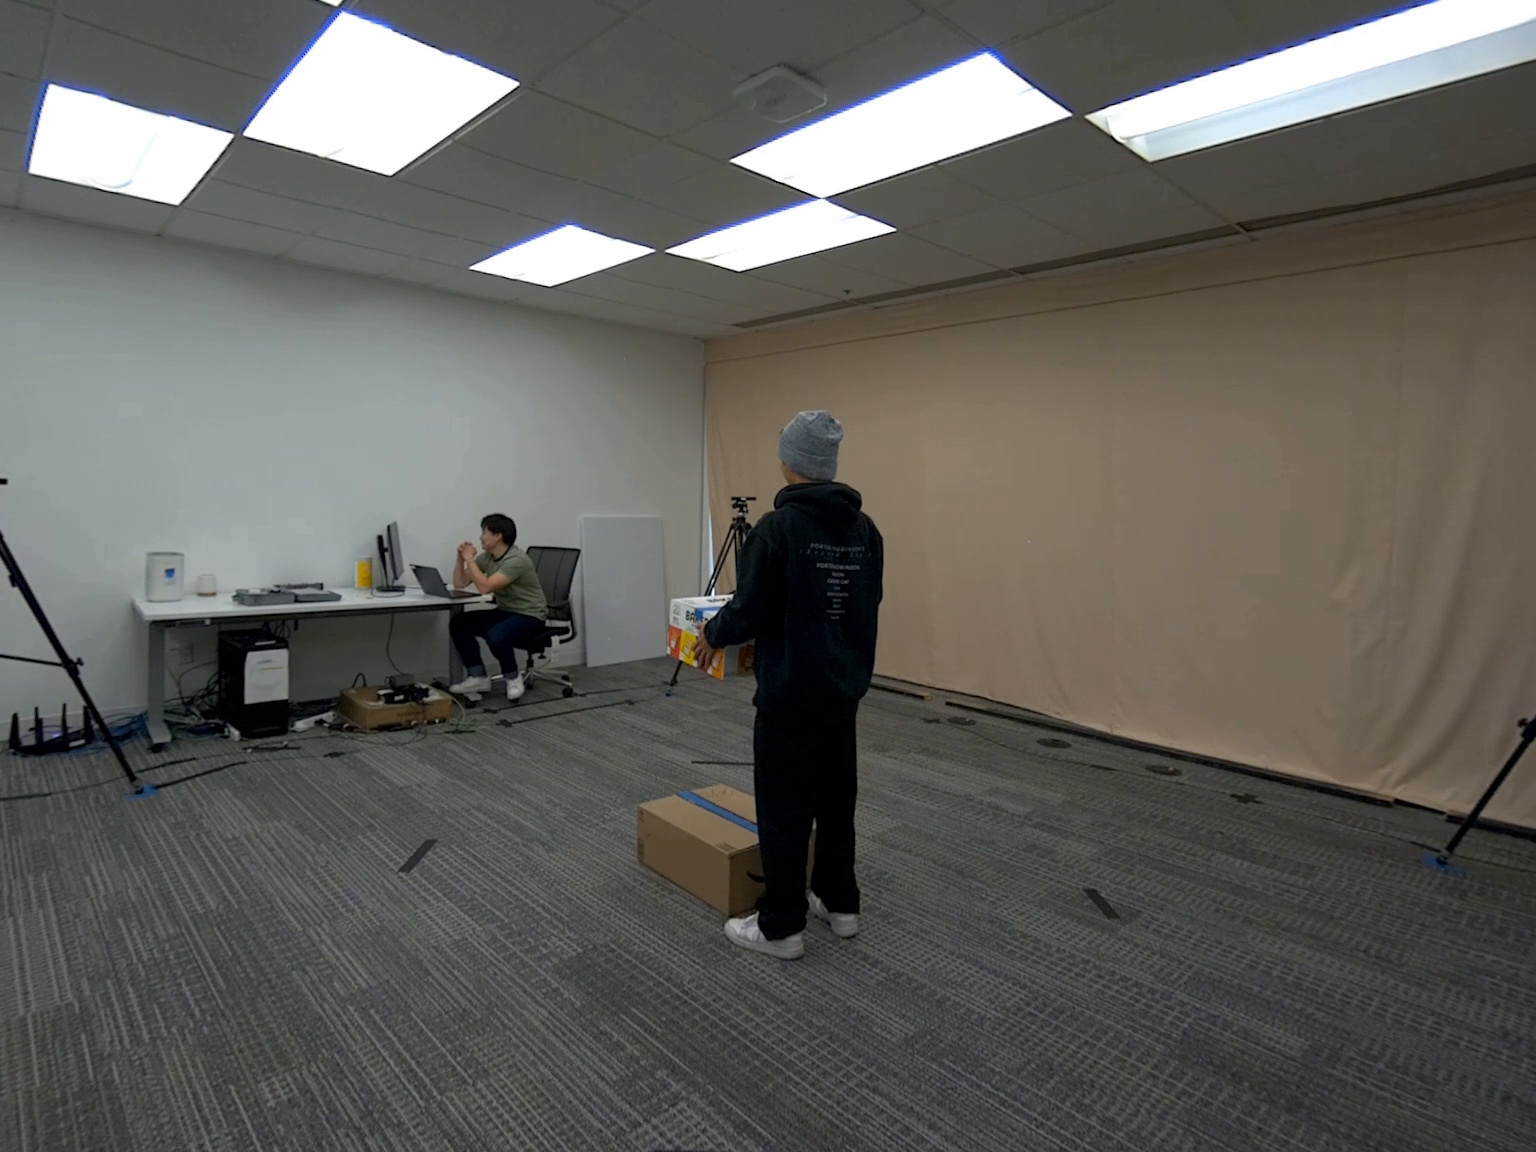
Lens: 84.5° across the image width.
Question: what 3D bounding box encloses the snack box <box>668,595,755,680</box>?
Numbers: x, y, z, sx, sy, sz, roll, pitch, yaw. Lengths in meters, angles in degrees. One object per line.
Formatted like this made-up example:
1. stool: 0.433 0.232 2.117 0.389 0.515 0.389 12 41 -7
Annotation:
1. snack box: -0.104 0.207 3.025 0.396 0.204 0.350 -3 13 -39
